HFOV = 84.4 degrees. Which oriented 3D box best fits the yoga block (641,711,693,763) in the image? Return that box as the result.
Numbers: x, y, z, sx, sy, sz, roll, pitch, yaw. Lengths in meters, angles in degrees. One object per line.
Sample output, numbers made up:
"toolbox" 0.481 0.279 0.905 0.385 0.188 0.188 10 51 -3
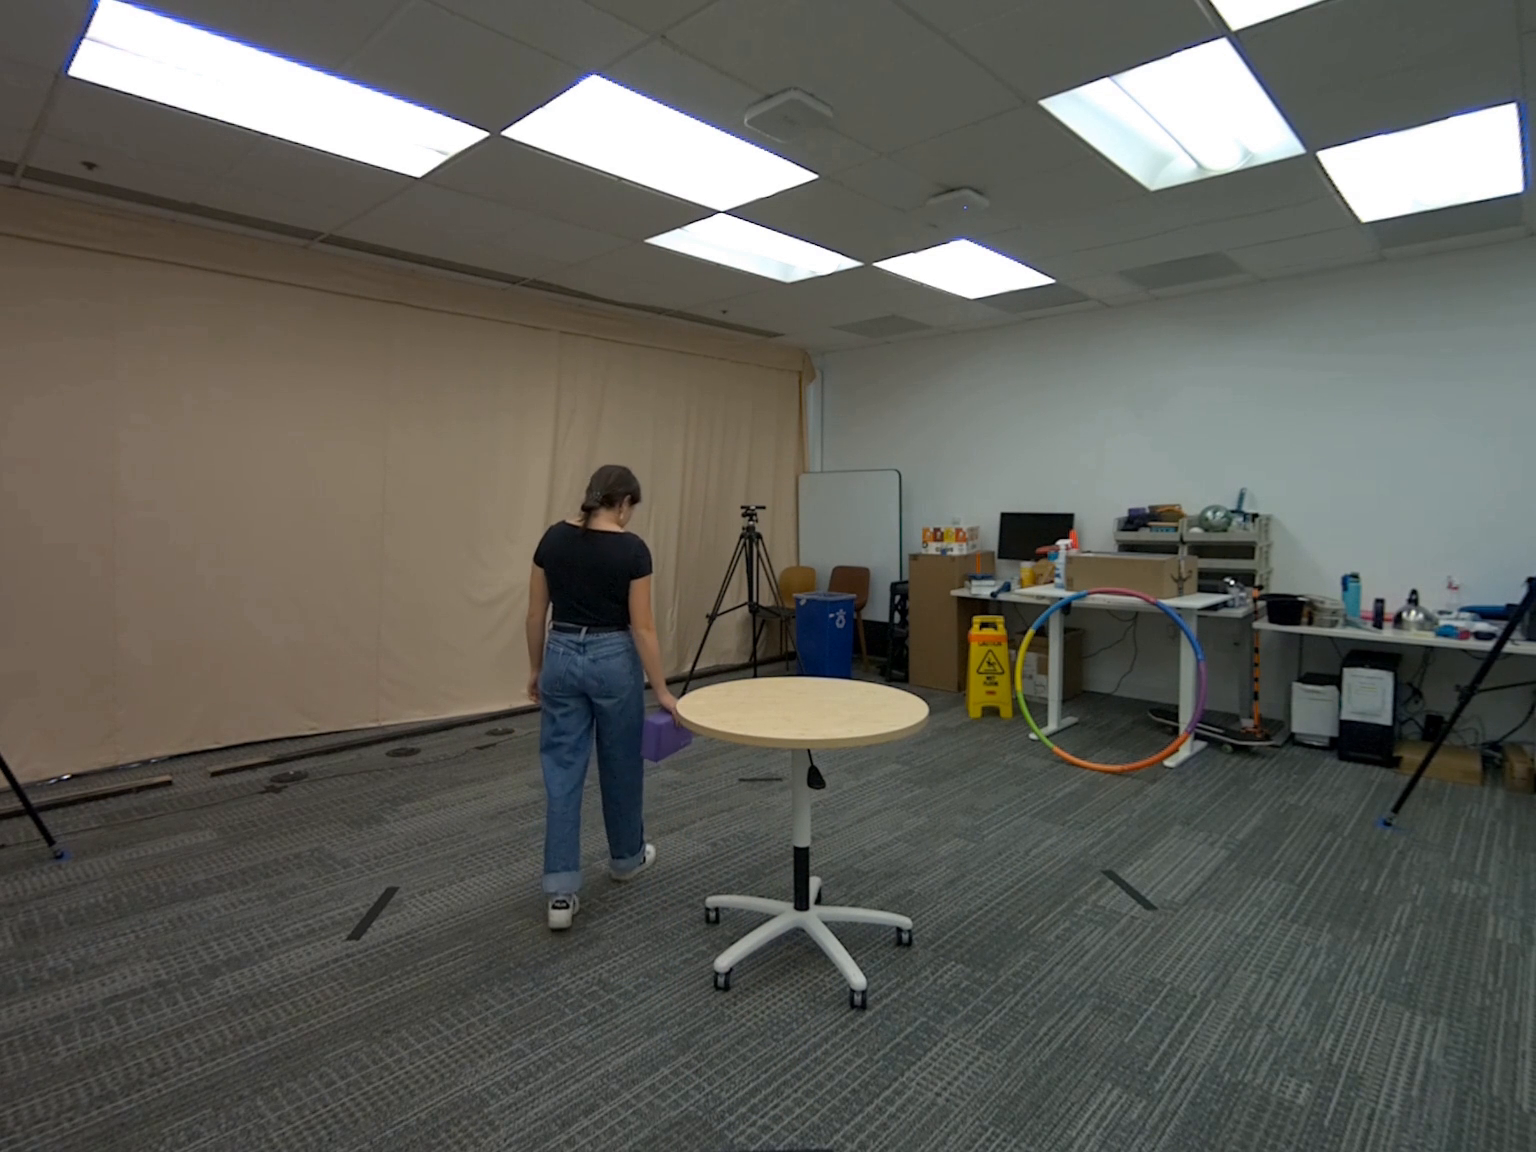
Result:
"yoga block" -0.338 0.544 2.995 0.079 0.148 0.223 10 15 32
